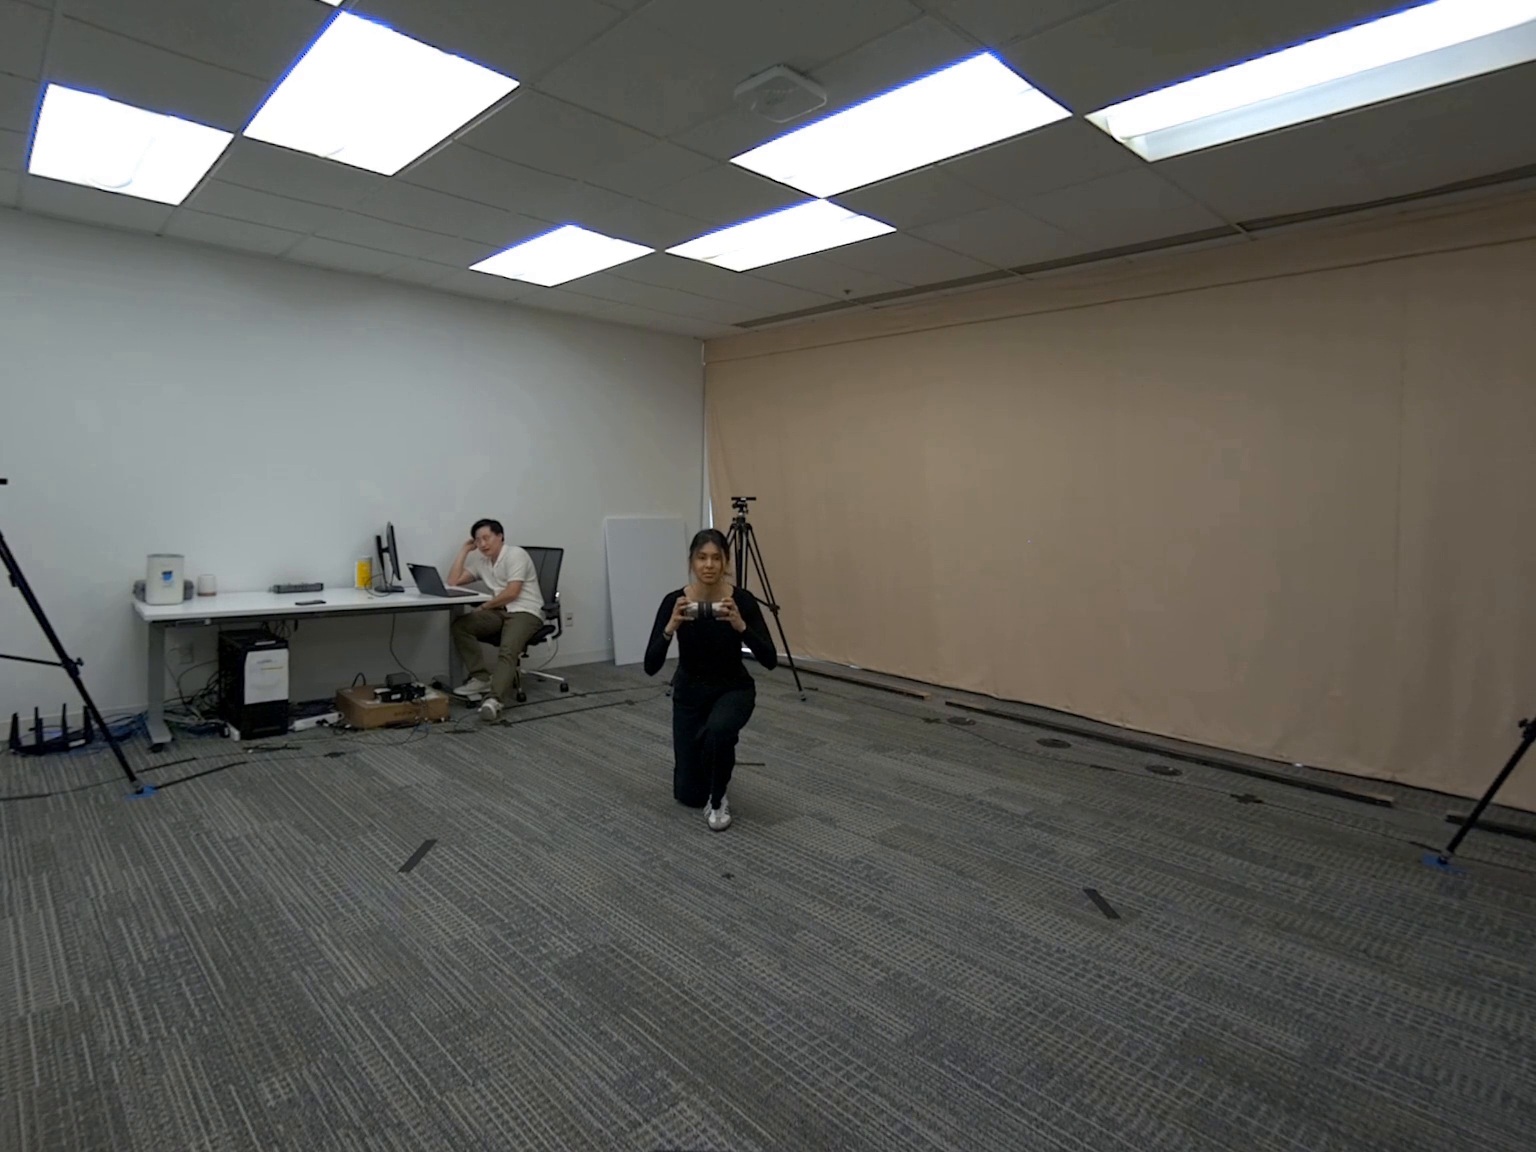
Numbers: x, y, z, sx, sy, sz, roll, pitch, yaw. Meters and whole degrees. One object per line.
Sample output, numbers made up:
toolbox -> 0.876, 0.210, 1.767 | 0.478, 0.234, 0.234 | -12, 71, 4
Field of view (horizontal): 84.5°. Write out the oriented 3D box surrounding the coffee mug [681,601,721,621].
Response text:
coffee mug -> -0.267, 0.128, 3.502 | 0.202, 0.086, 0.125 | -6, 35, -3
